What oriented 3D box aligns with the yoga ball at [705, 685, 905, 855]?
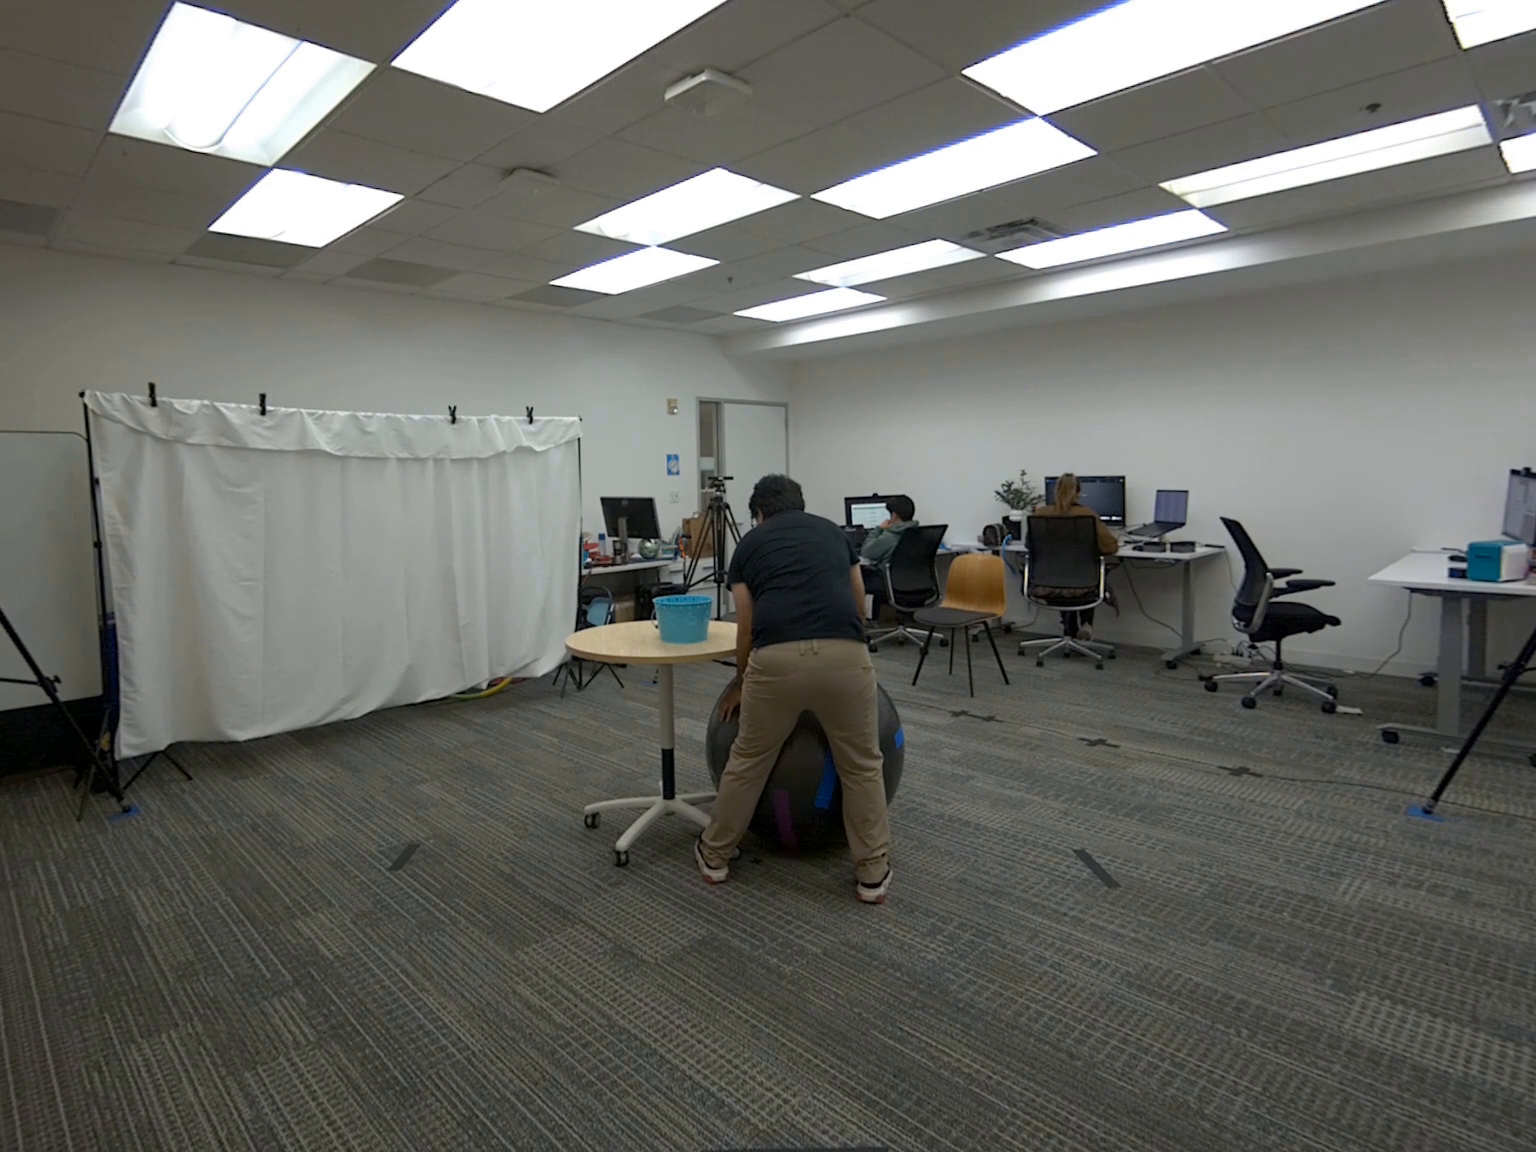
[{"bbox_3d":[0.151,0.667,3.319,0.757,0.755,0.762,-1,5,-2],"label":"yoga ball"}]
